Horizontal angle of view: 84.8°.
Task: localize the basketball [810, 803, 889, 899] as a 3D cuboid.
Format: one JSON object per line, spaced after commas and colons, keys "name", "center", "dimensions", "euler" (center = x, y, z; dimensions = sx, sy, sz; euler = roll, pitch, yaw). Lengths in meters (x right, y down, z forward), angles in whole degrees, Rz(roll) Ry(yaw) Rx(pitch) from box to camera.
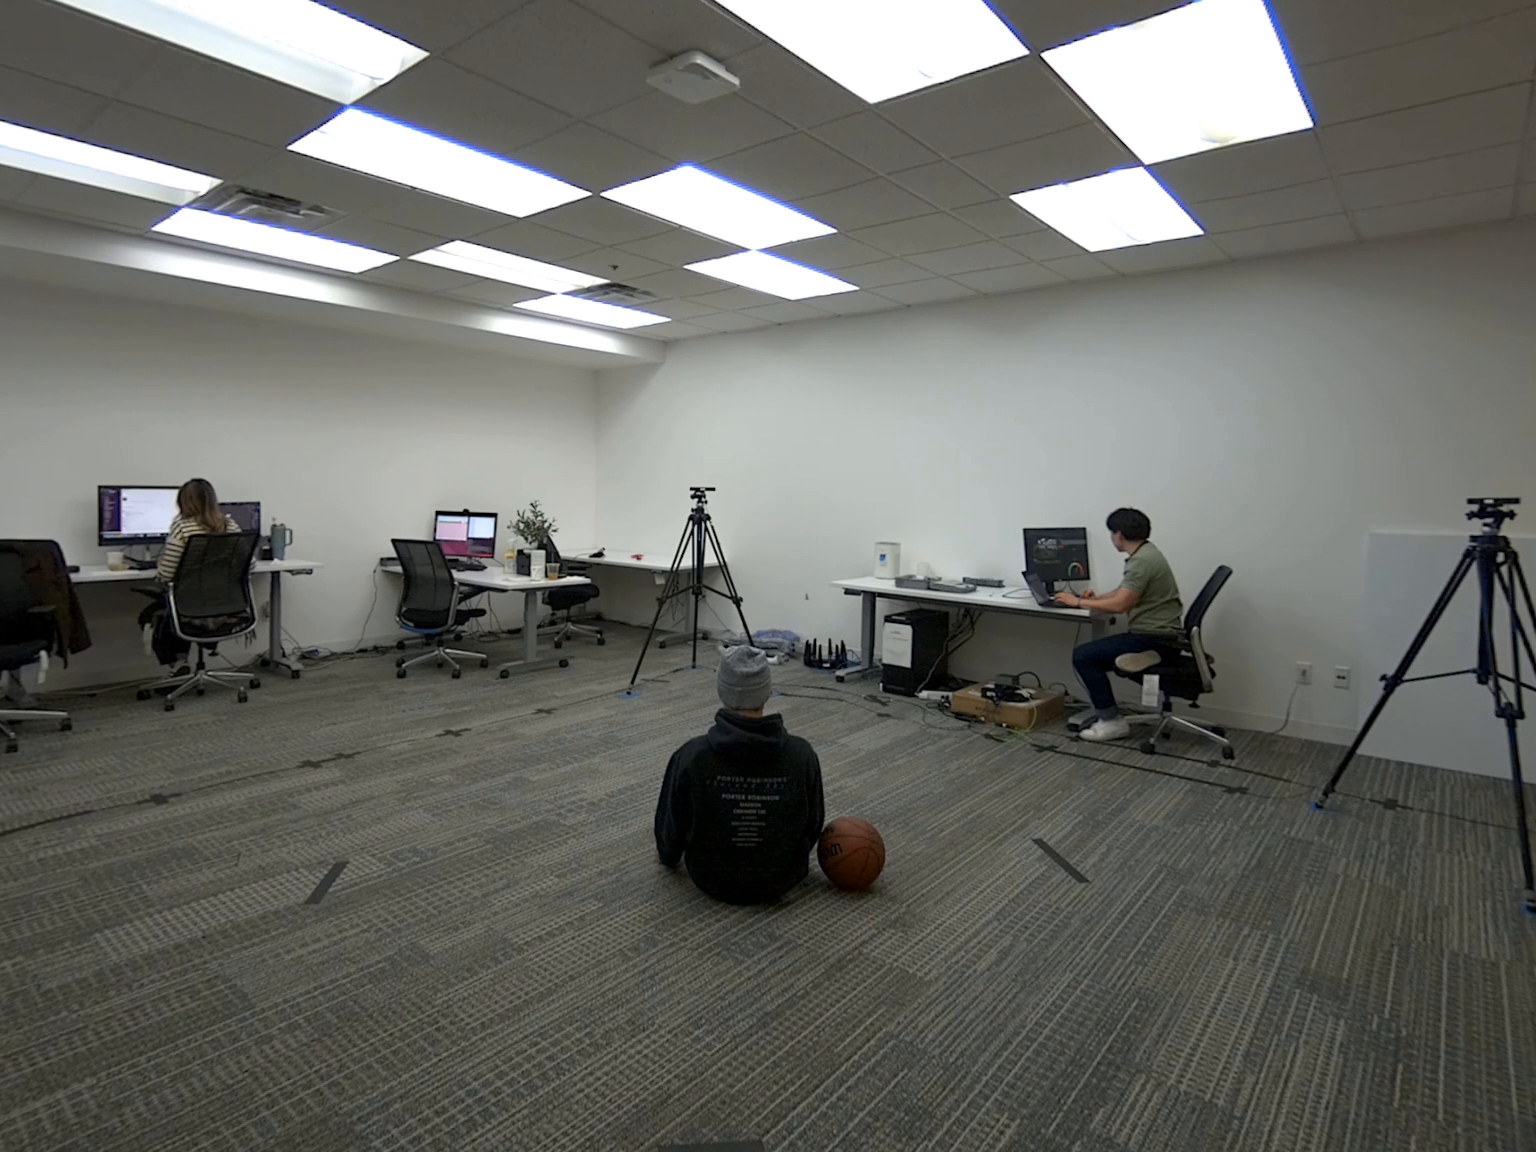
{"name": "basketball", "center": [0.281, 0.967, 2.982], "dimensions": [0.235, 0.235, 0.237], "euler": [1, 4, -2]}
